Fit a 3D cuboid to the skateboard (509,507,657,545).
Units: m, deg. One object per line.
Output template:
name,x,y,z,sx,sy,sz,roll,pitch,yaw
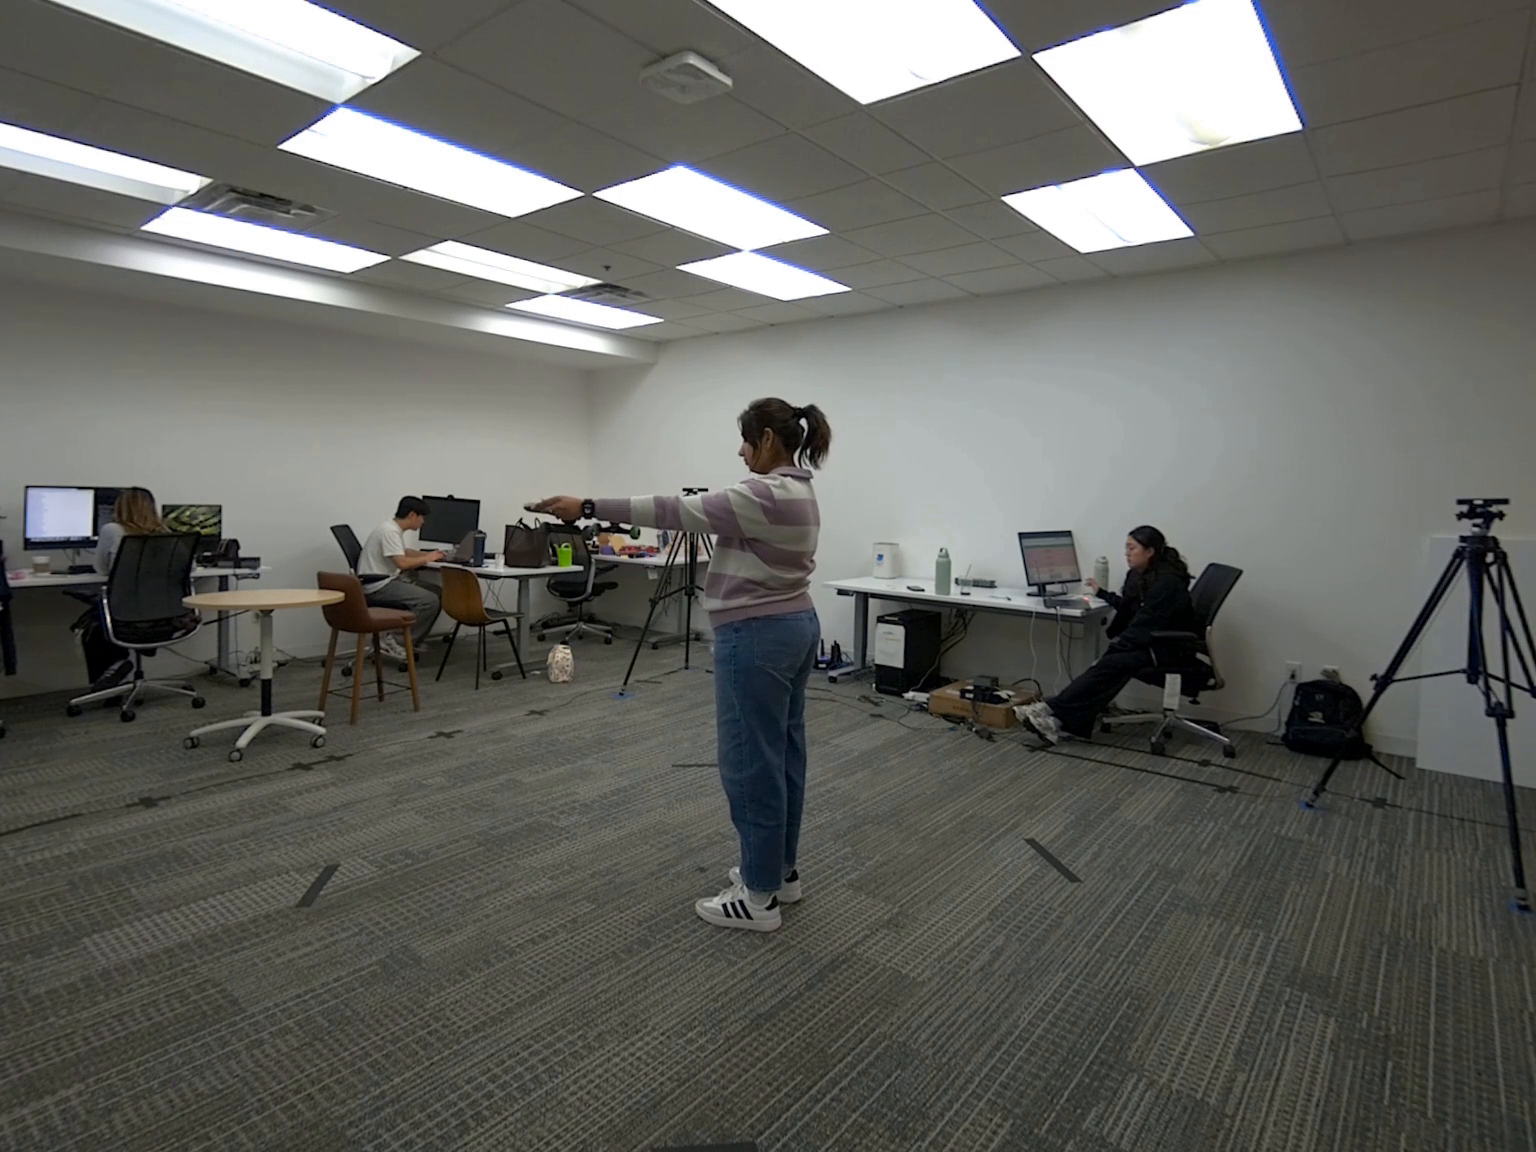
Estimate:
skateboard,-0.610,-0.181,2.903,0.196,0.110,0.775,-4,3,12
